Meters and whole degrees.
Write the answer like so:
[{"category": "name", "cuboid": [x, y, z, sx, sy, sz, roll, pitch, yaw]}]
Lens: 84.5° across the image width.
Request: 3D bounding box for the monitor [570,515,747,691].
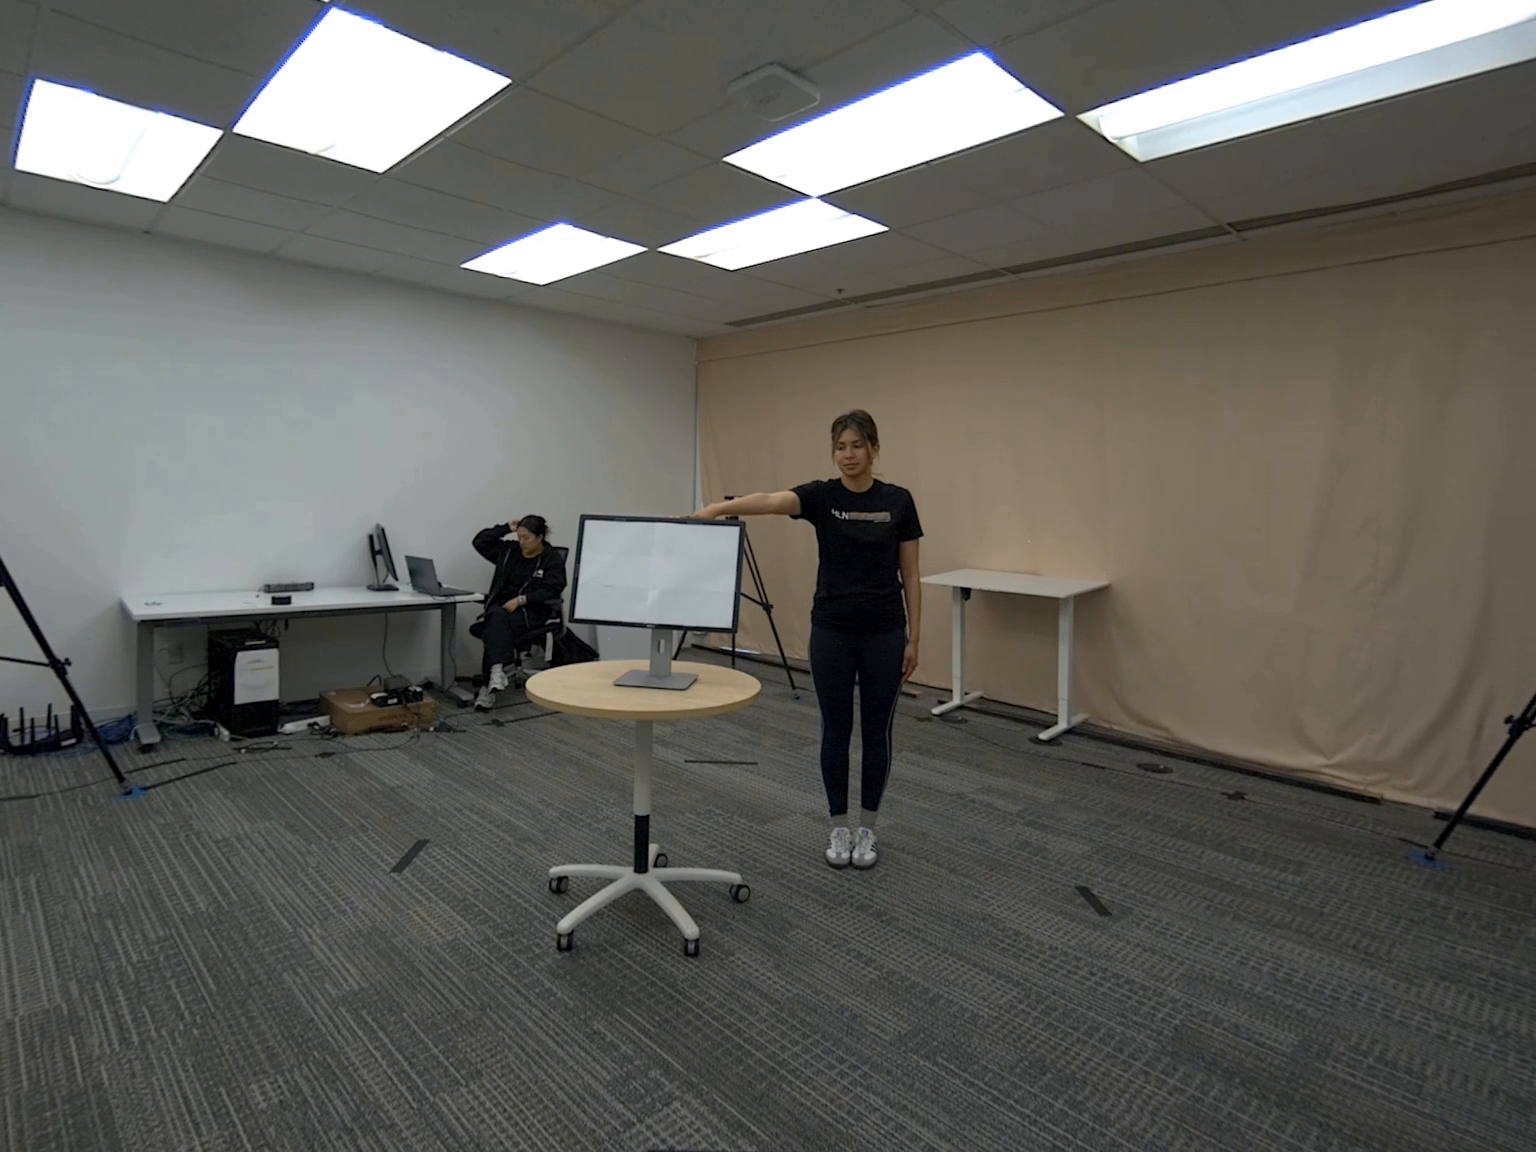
[{"category": "monitor", "cuboid": [-0.359, 0.087, 2.769, 0.543, 0.521, 0.186, 3, 3, 9]}]
